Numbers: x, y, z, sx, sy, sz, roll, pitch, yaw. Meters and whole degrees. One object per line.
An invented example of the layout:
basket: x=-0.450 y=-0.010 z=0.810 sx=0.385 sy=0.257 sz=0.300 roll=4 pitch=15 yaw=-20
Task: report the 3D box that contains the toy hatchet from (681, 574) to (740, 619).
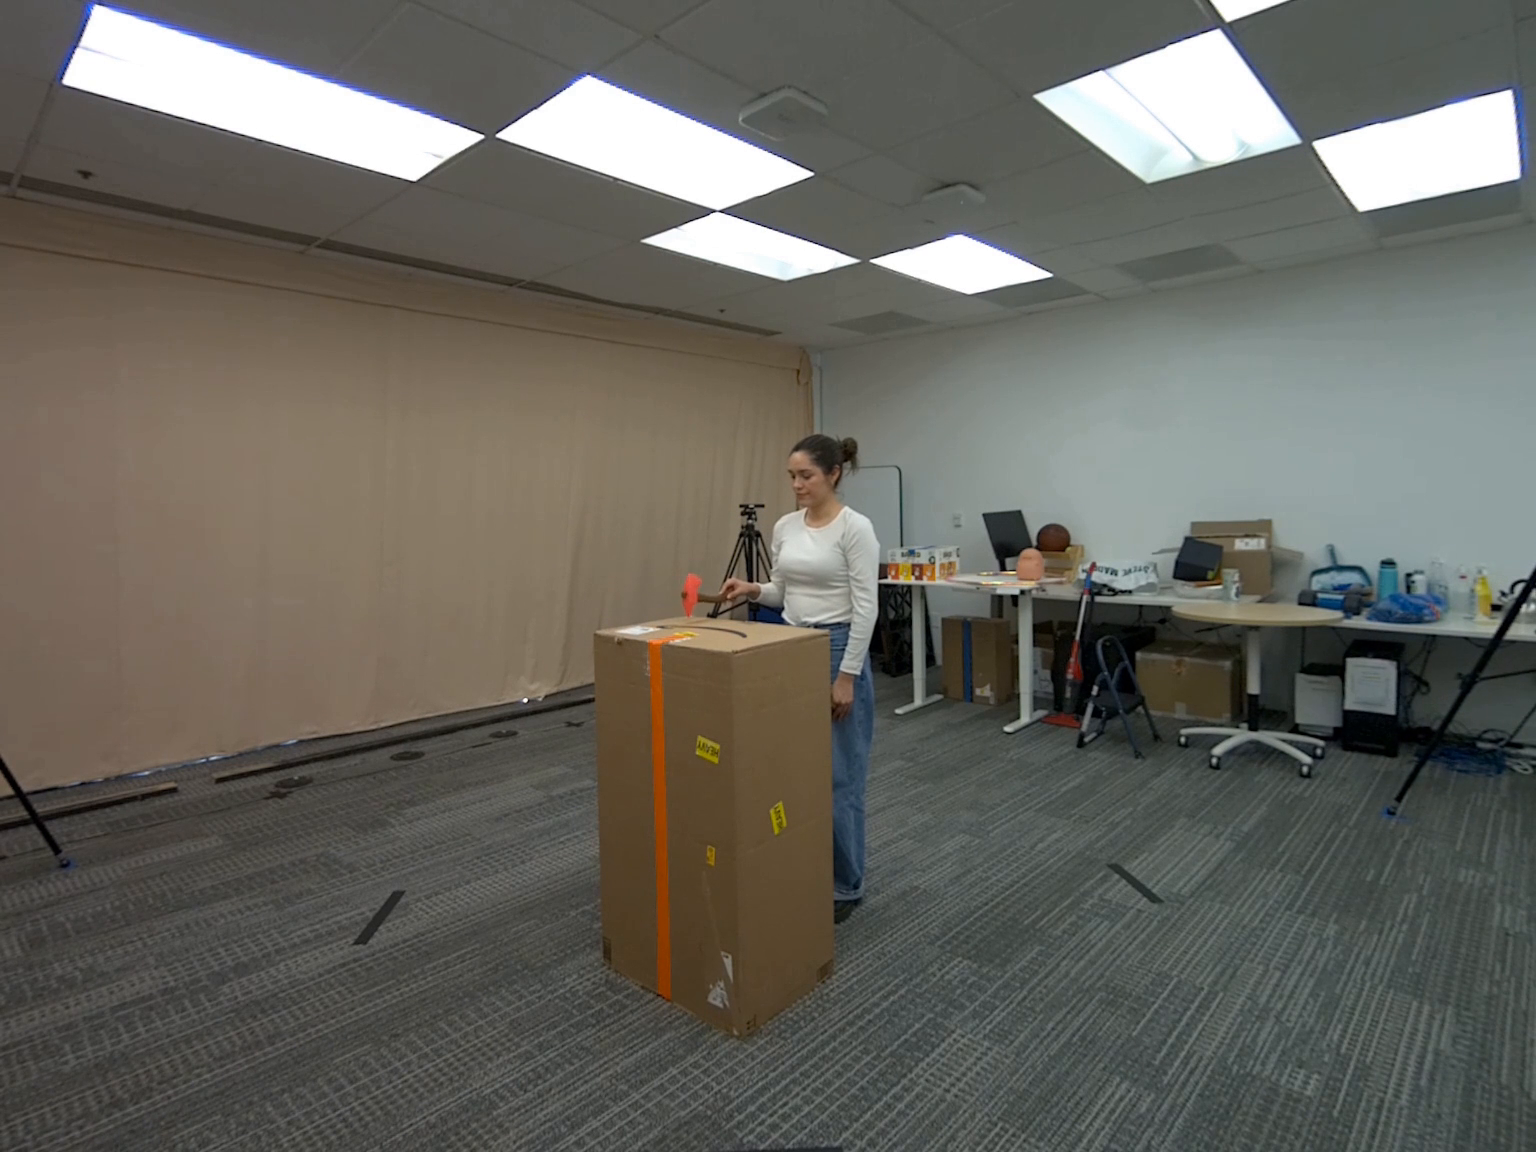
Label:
toy hatchet: x=-0.191 y=0.038 z=2.738 sx=0.030 sy=0.130 sz=0.263 roll=-7 pitch=7 yaw=40
